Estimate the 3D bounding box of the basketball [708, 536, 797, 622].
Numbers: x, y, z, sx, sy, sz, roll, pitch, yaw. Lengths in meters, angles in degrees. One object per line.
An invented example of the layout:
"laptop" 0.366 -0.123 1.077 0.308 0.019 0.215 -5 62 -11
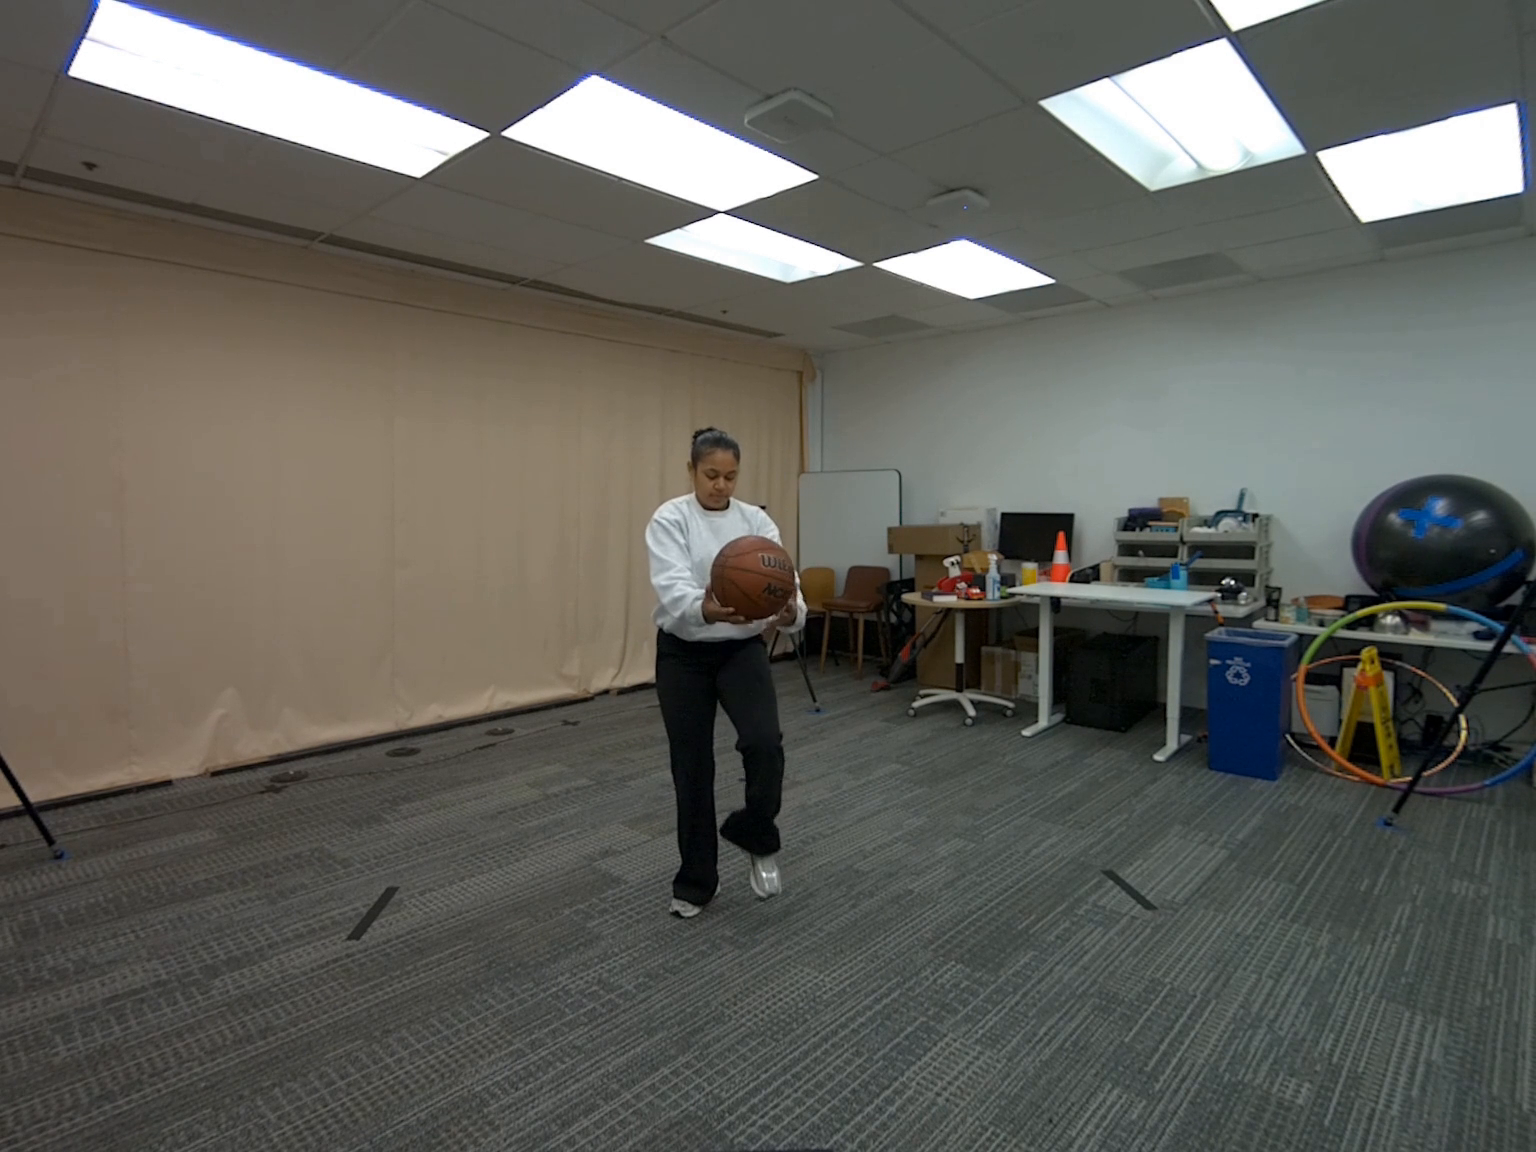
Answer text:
"basketball" -0.046 -0.002 2.380 0.236 0.235 0.237 0 4 -2
